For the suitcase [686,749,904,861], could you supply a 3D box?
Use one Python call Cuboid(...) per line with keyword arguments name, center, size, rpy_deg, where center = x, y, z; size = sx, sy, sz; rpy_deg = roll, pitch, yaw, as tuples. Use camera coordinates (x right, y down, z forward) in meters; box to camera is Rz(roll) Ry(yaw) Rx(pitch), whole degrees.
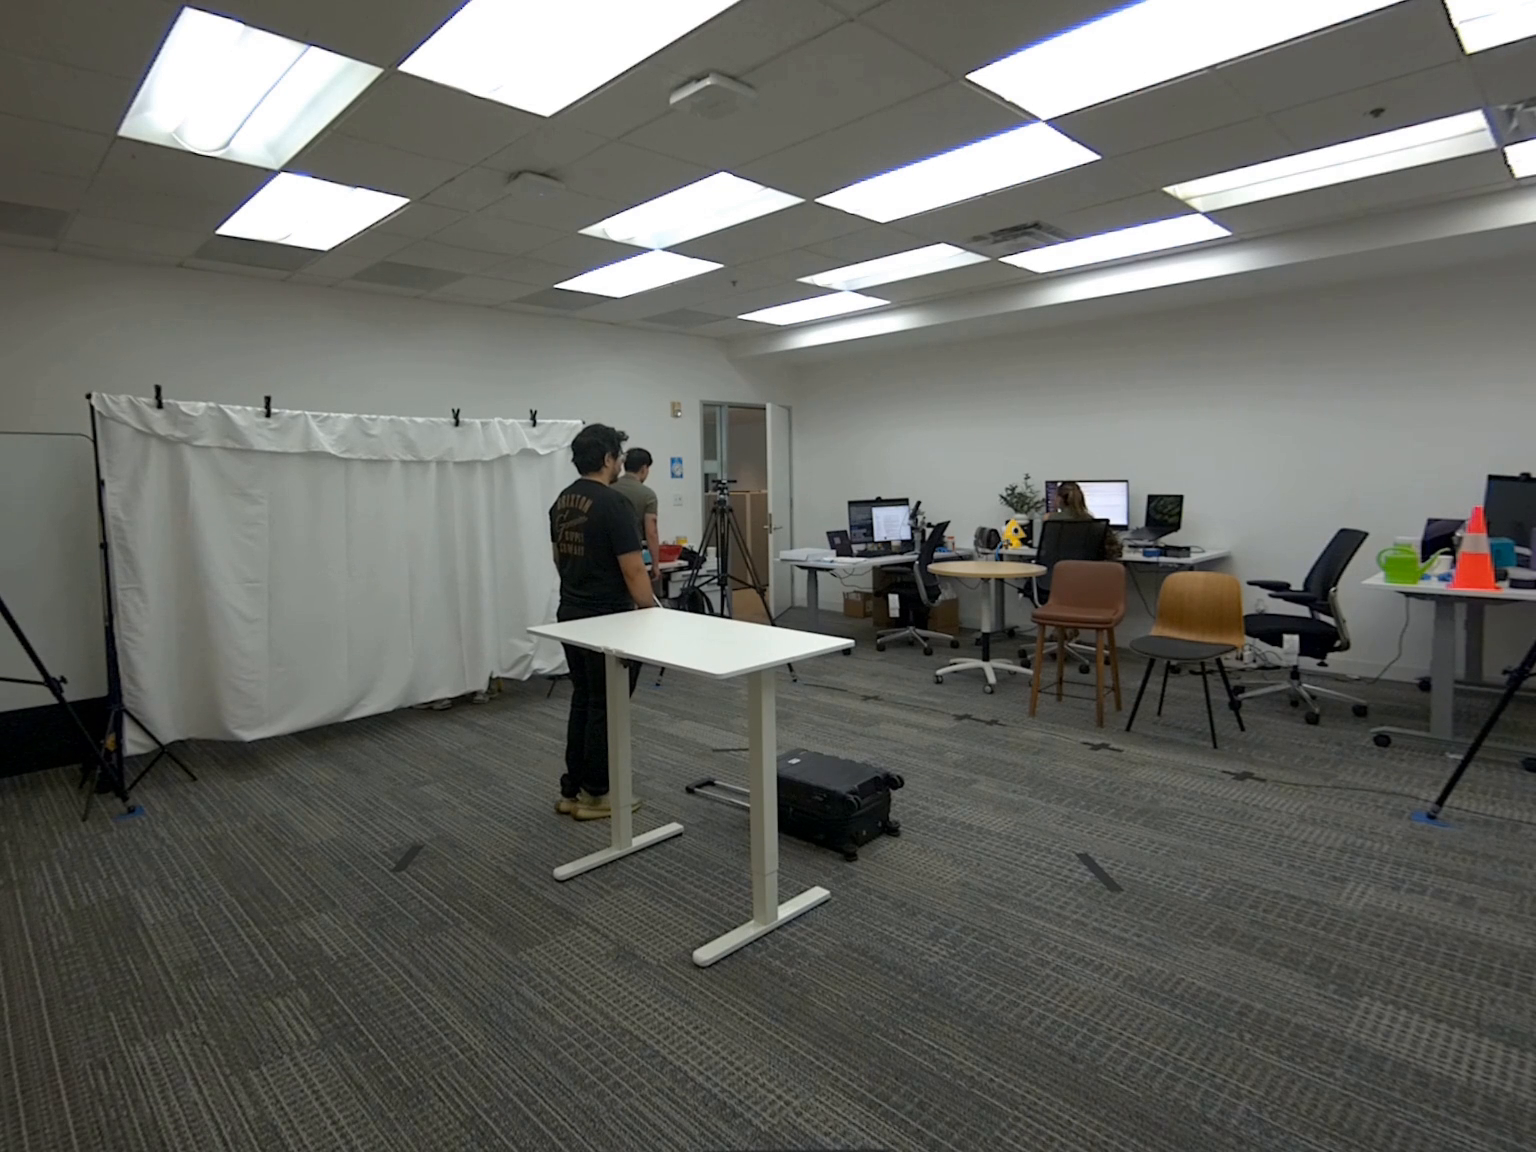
Cuboid(name="suitcase", center=(0.060, 0.870, 3.566), size=(1.009, 0.255, 0.374), rpy_deg=(6, 9, 42))
